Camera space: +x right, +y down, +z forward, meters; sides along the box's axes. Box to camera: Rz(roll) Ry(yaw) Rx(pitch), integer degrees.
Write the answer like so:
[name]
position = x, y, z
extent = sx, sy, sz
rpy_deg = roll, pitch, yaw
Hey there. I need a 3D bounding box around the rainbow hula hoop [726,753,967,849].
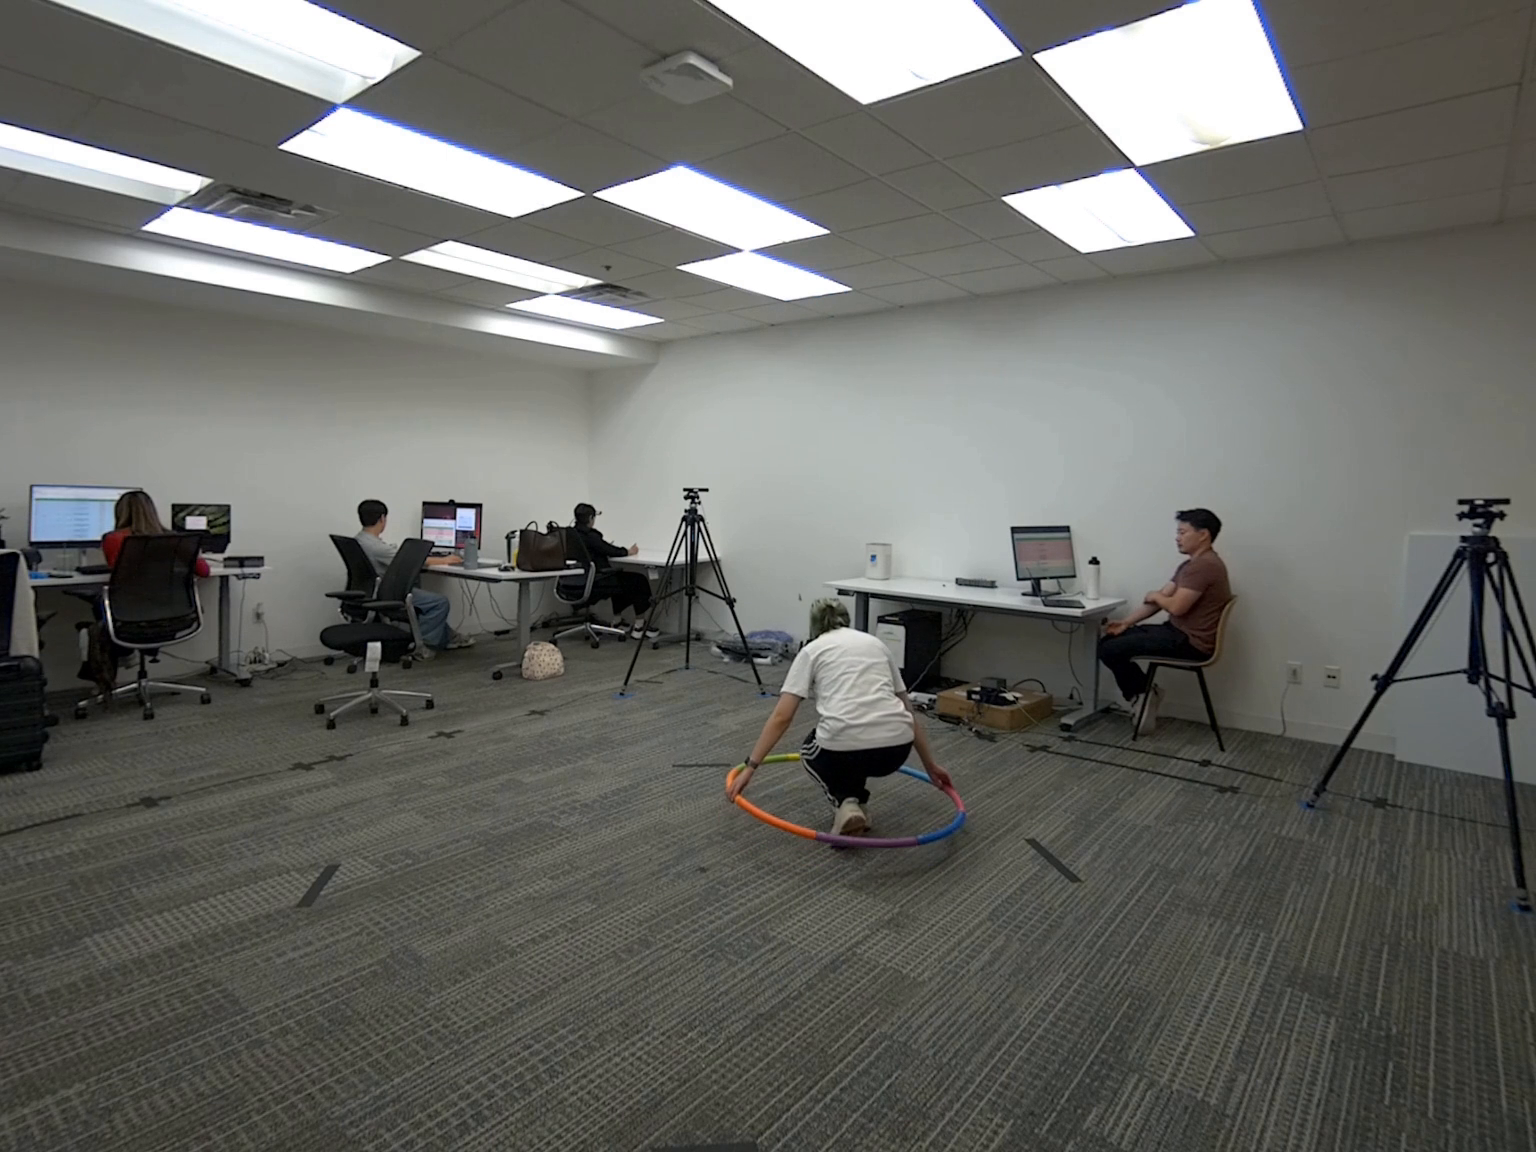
[rainbow hula hoop]
position = 0.308, 0.887, 3.535
extent = 0.984, 0.051, 0.991
rpy_deg = 3, 6, -2
